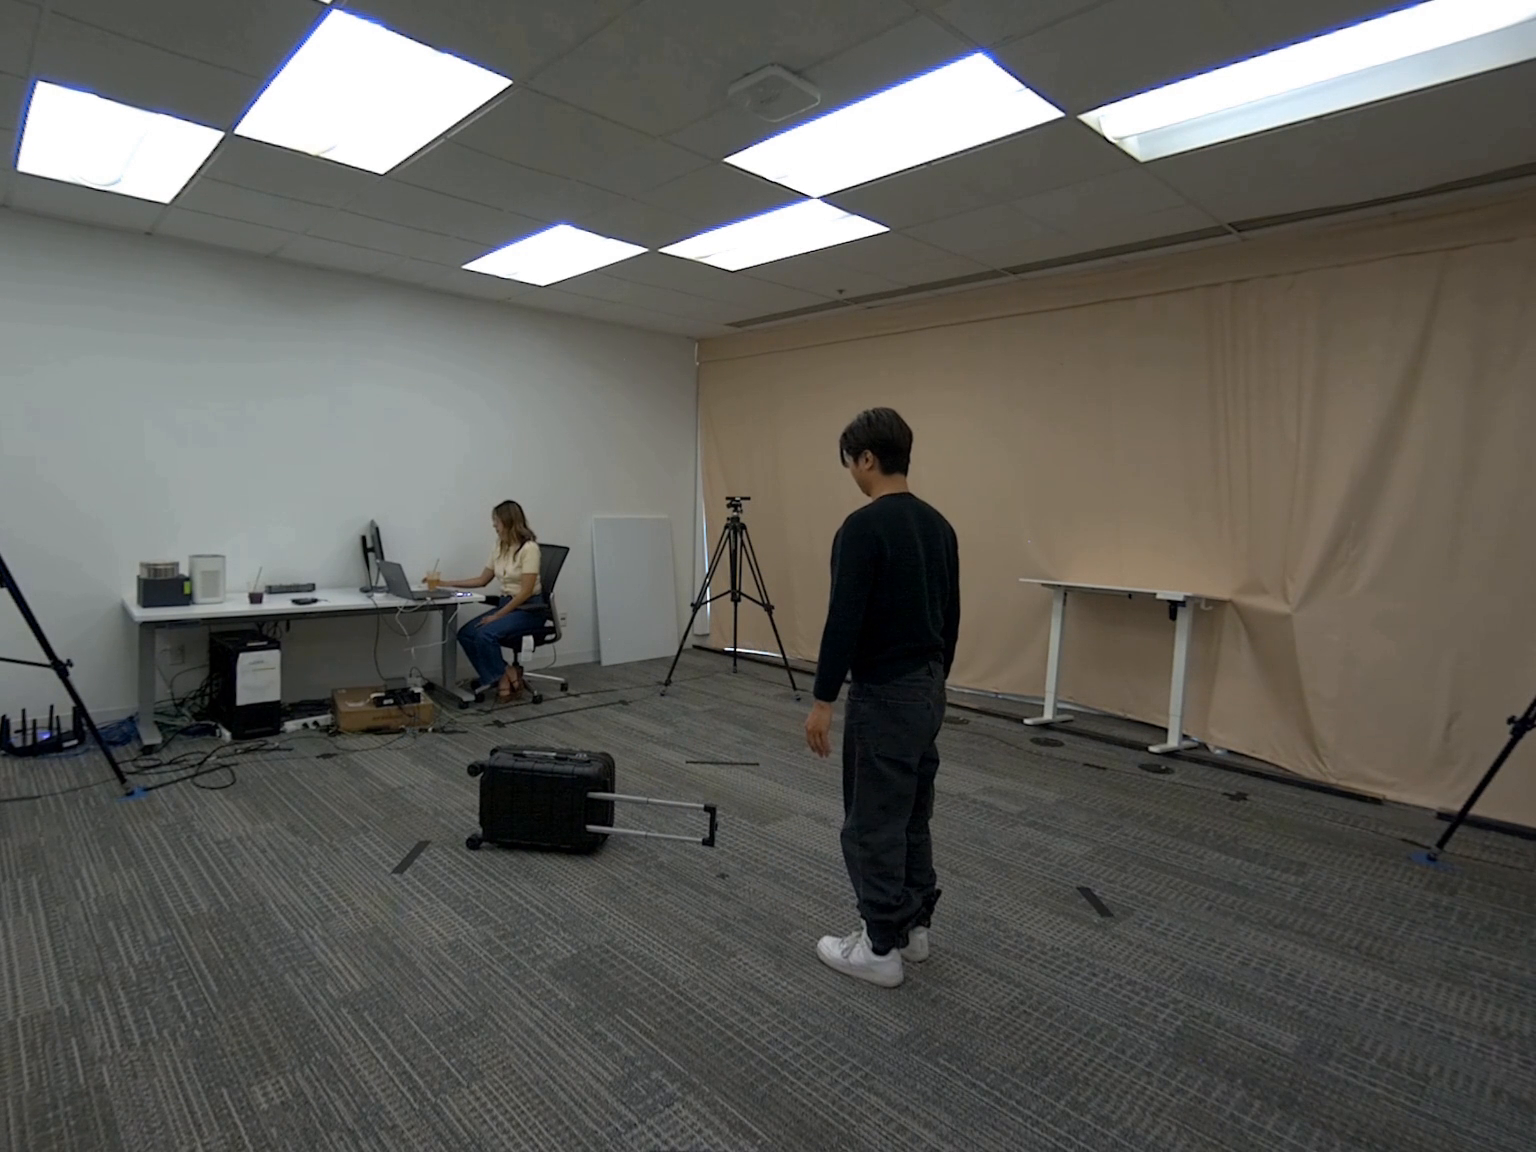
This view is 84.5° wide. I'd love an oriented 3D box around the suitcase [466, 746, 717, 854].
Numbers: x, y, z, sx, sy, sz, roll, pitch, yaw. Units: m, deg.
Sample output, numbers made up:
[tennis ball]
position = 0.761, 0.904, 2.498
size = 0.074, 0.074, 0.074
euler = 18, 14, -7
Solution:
[suitcase]
position = -0.680, 0.886, 3.320
size = 0.985, 0.383, 0.256
euler = 3, 4, 8
